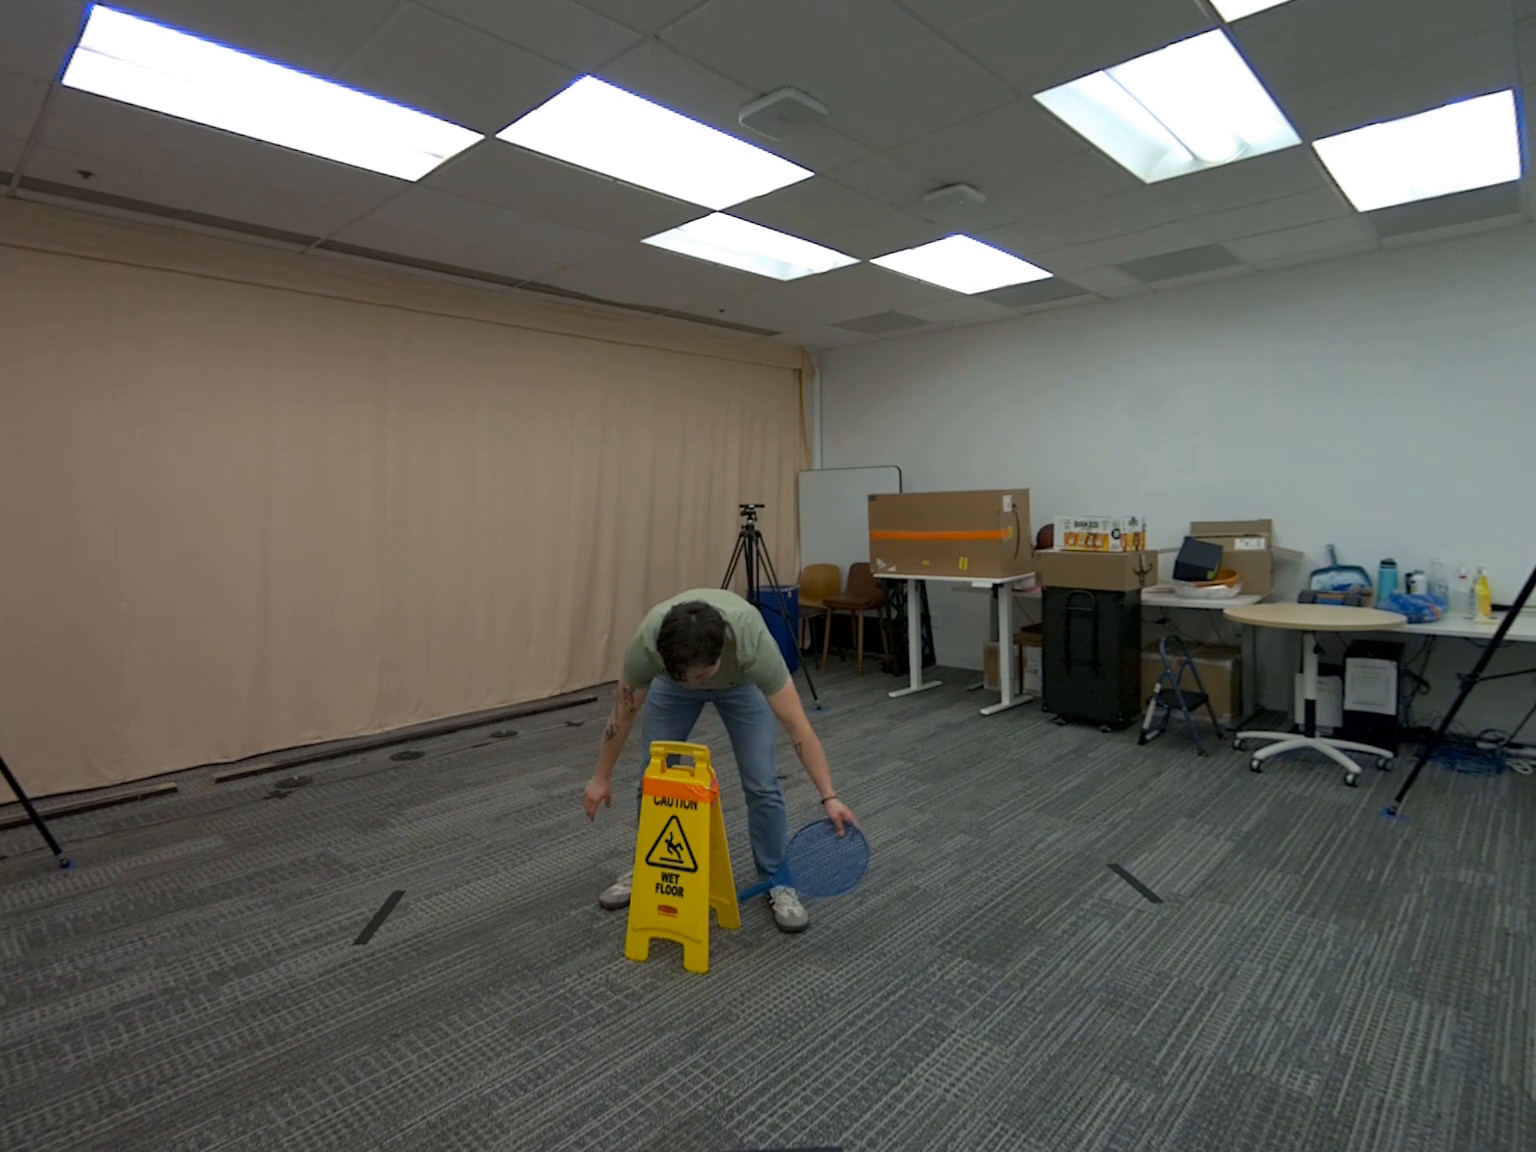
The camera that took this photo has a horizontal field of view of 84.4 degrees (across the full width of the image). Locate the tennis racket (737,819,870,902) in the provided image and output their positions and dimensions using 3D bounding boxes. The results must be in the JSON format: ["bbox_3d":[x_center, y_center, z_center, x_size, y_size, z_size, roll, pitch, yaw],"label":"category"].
[{"bbox_3d":[0.144,0.889,2.534,0.434,0.218,0.031,-36,-17,6],"label":"tennis racket"}]
